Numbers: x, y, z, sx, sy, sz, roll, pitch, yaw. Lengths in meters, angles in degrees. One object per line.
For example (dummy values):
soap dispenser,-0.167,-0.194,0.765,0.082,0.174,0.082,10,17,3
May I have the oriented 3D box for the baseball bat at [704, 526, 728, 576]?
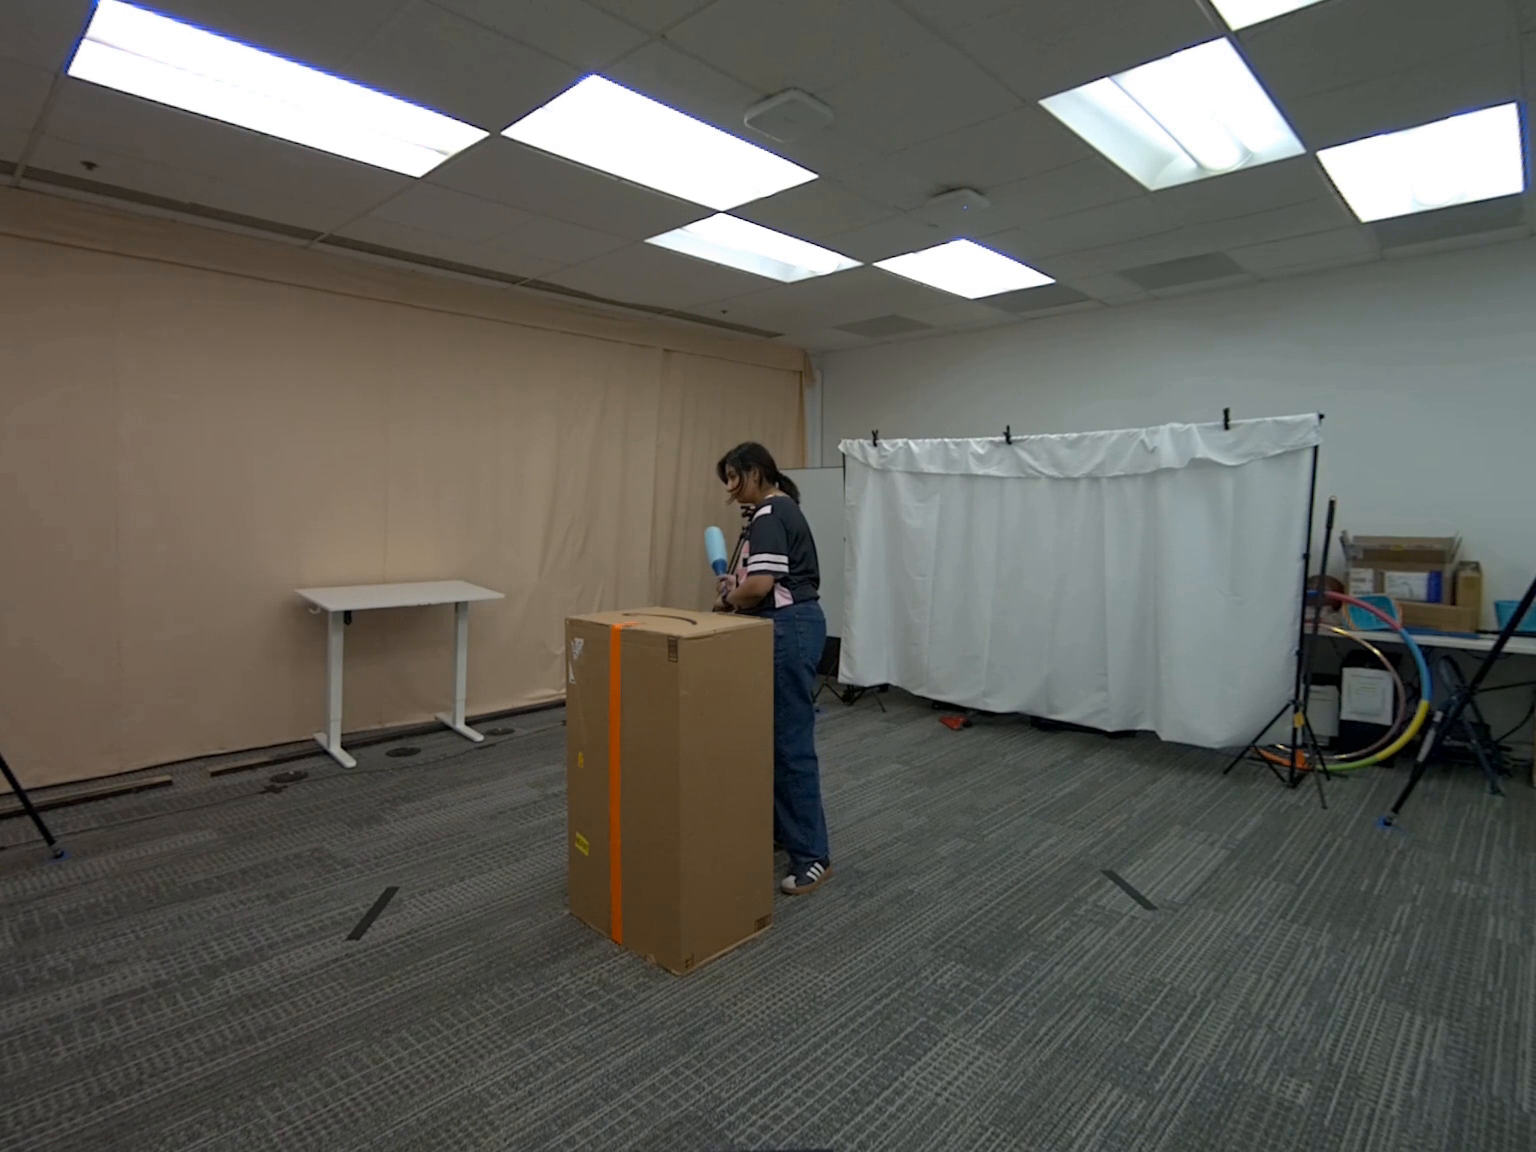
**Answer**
baseball bat,-0.199,-0.022,3.629,0.088,0.088,0.557,-1,36,-12
